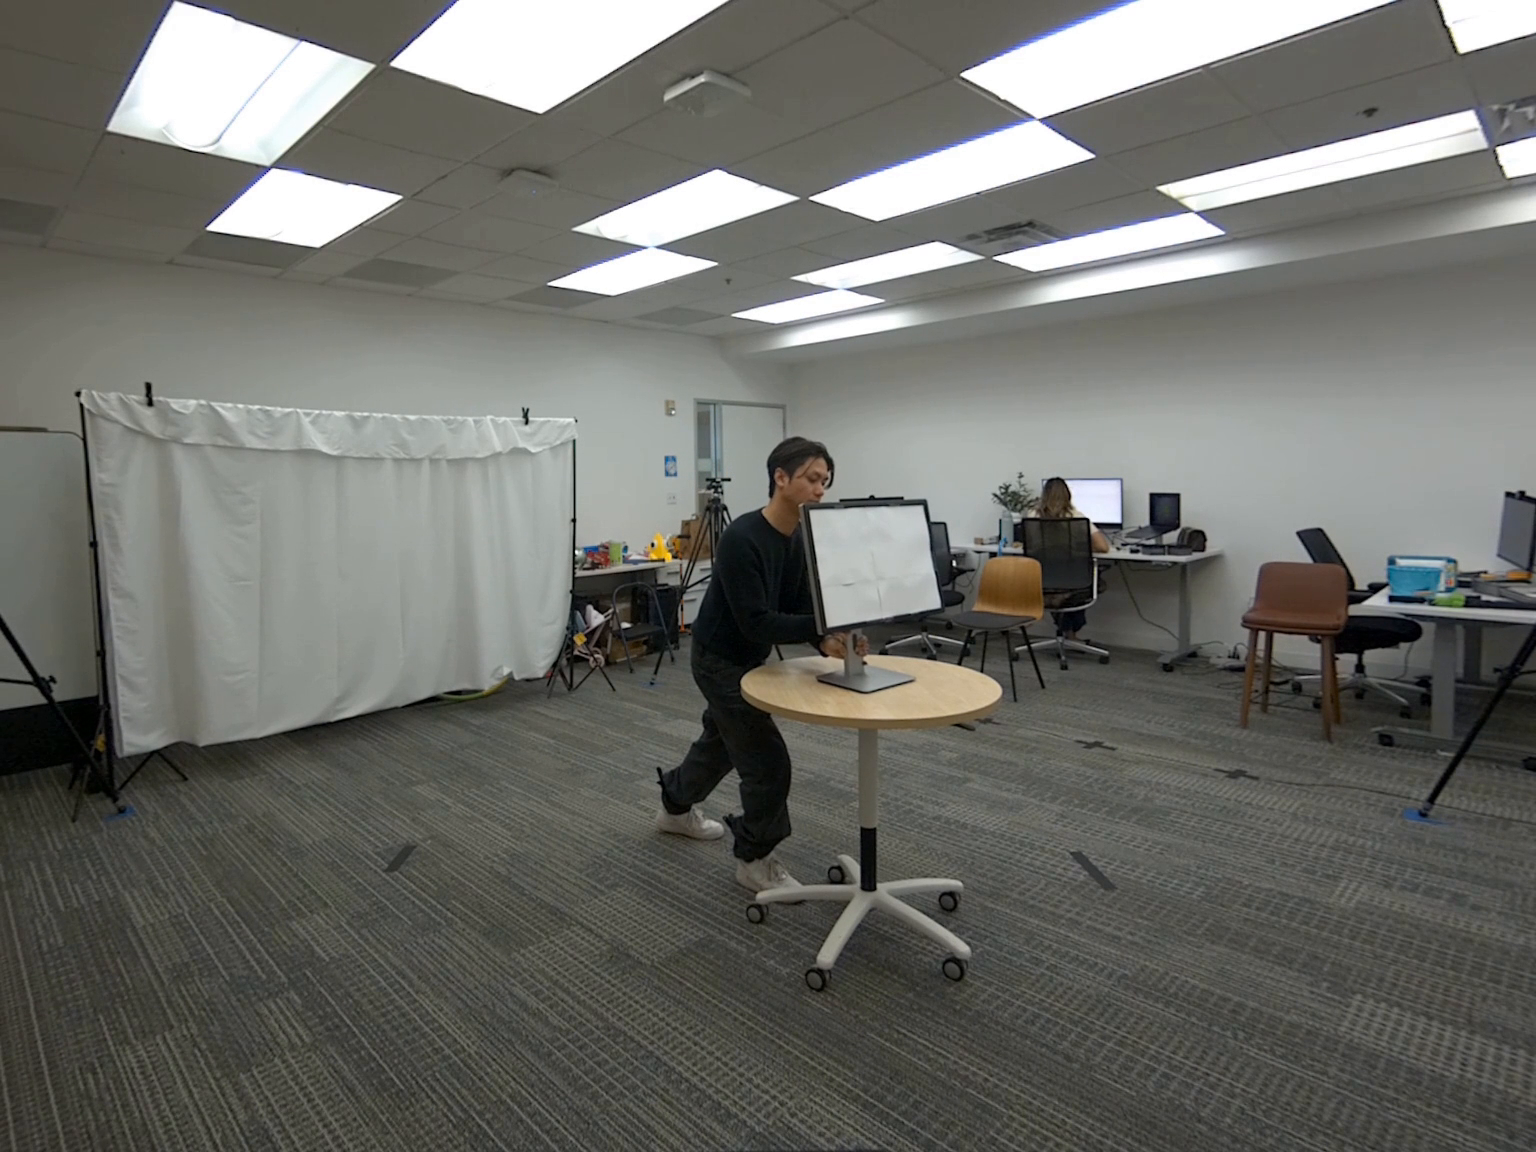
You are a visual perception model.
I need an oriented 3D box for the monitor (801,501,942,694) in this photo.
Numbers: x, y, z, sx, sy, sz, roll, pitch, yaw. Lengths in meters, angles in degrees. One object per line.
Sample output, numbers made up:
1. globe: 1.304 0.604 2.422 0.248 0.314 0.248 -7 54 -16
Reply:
1. monitor: 0.296 0.047 2.557 0.515 0.513 0.180 -3 10 -44
